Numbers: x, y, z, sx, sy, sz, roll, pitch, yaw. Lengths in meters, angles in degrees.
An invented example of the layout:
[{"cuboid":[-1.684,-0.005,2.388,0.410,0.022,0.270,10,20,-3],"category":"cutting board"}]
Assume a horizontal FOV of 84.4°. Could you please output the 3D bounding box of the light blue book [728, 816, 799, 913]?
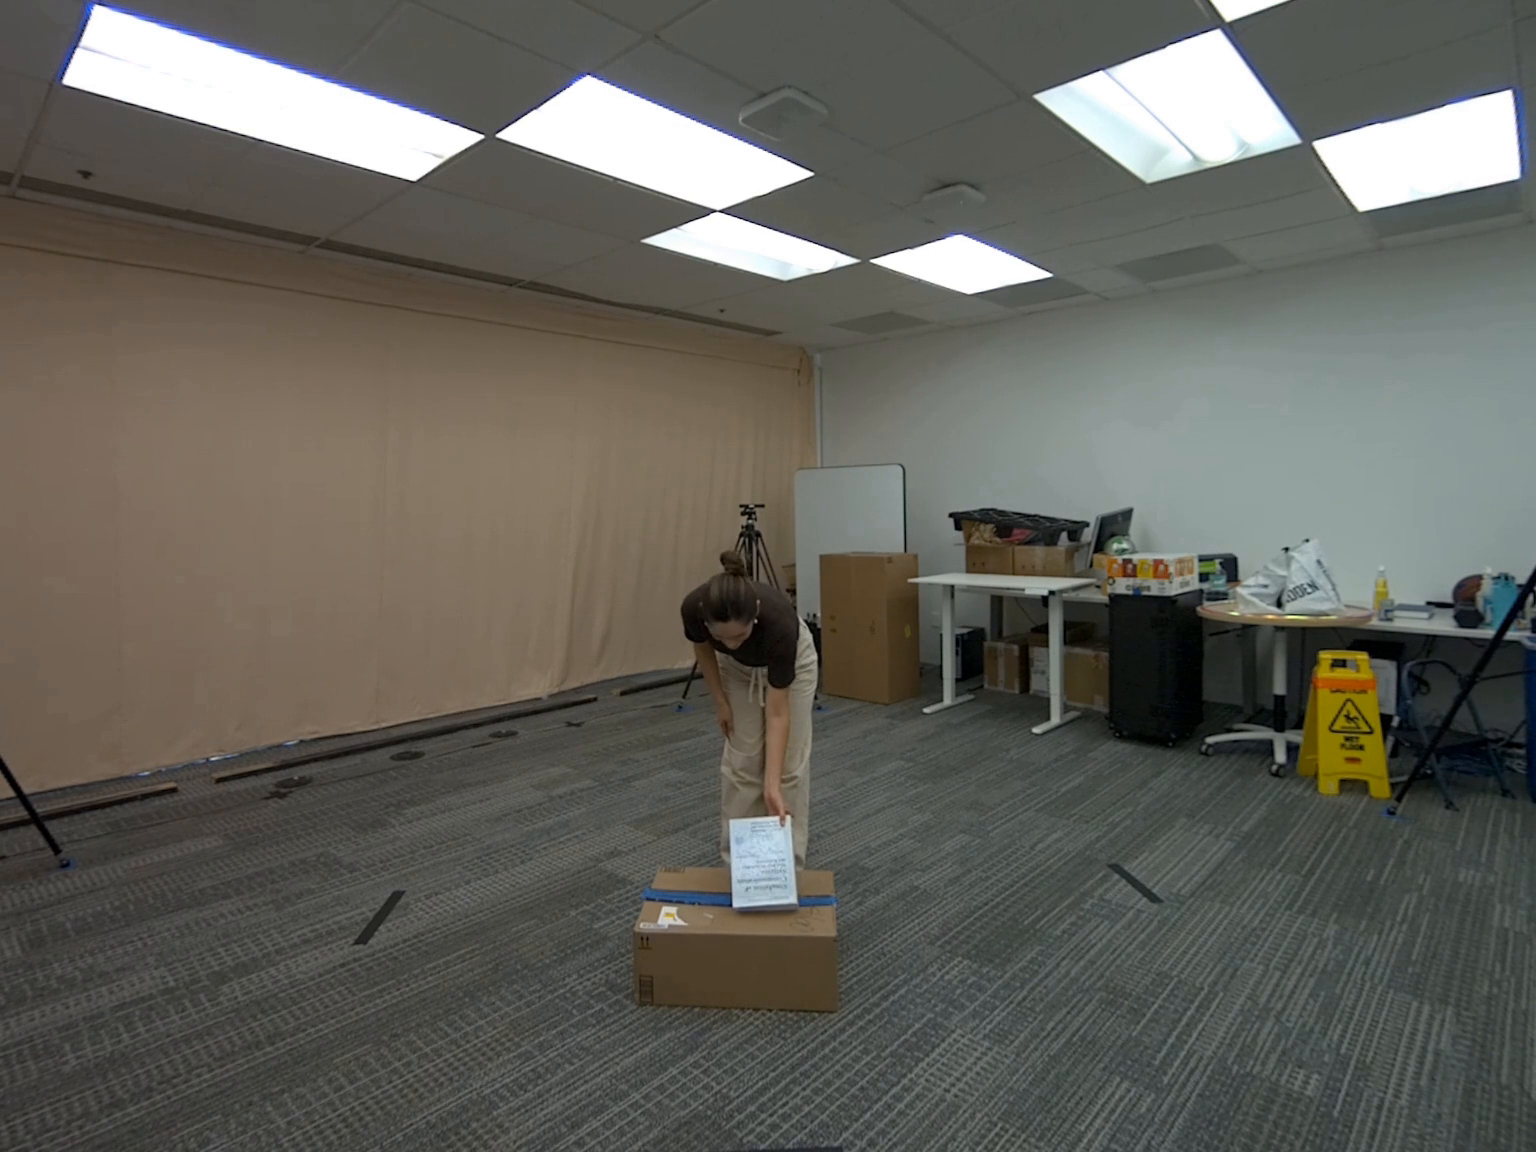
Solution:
[{"cuboid":[-0.010,0.853,2.525,0.192,0.266,0.057,-8,-40,3],"category":"light blue book"}]
